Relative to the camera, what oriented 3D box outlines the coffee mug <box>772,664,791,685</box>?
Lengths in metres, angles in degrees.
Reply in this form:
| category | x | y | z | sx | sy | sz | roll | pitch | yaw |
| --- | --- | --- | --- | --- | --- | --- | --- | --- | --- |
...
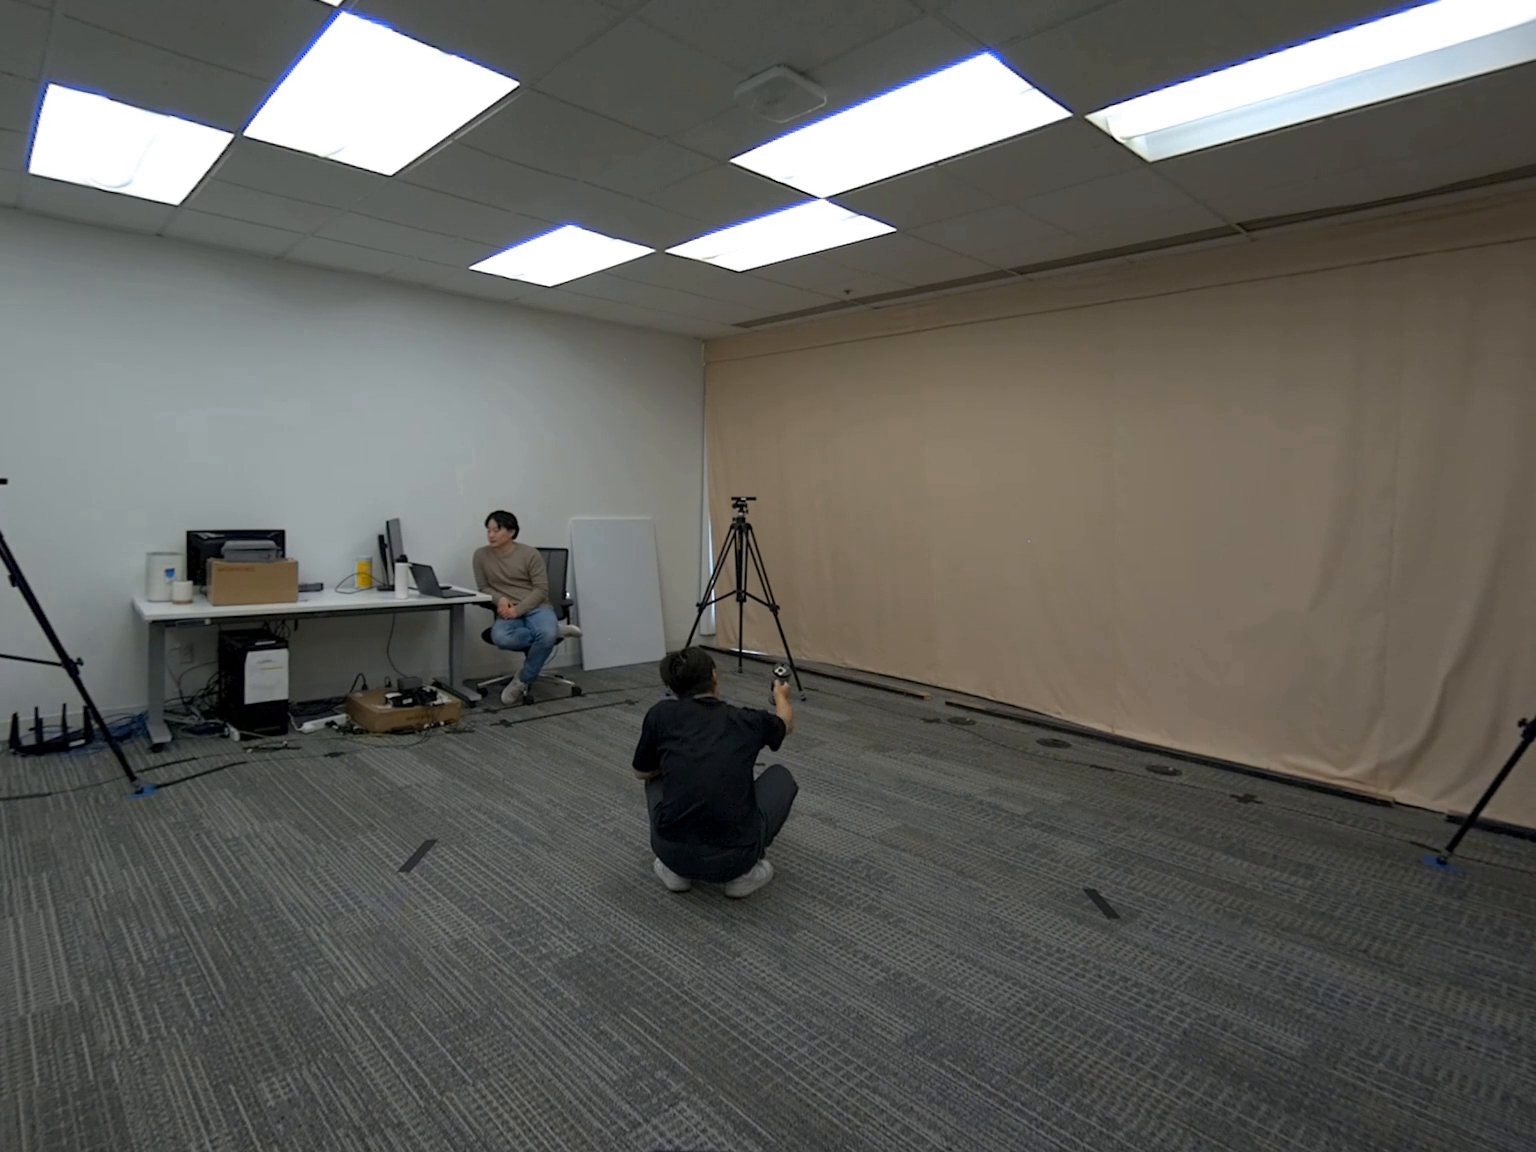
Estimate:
| category | x | y | z | sx | sy | sz | roll | pitch | yaw |
| --- | --- | --- | --- | --- | --- | --- | --- | --- | --- |
| coffee mug | 0.024 | 0.502 | 3.739 | 0.120 | 0.199 | 0.091 | -13 | 44 | -29 |
